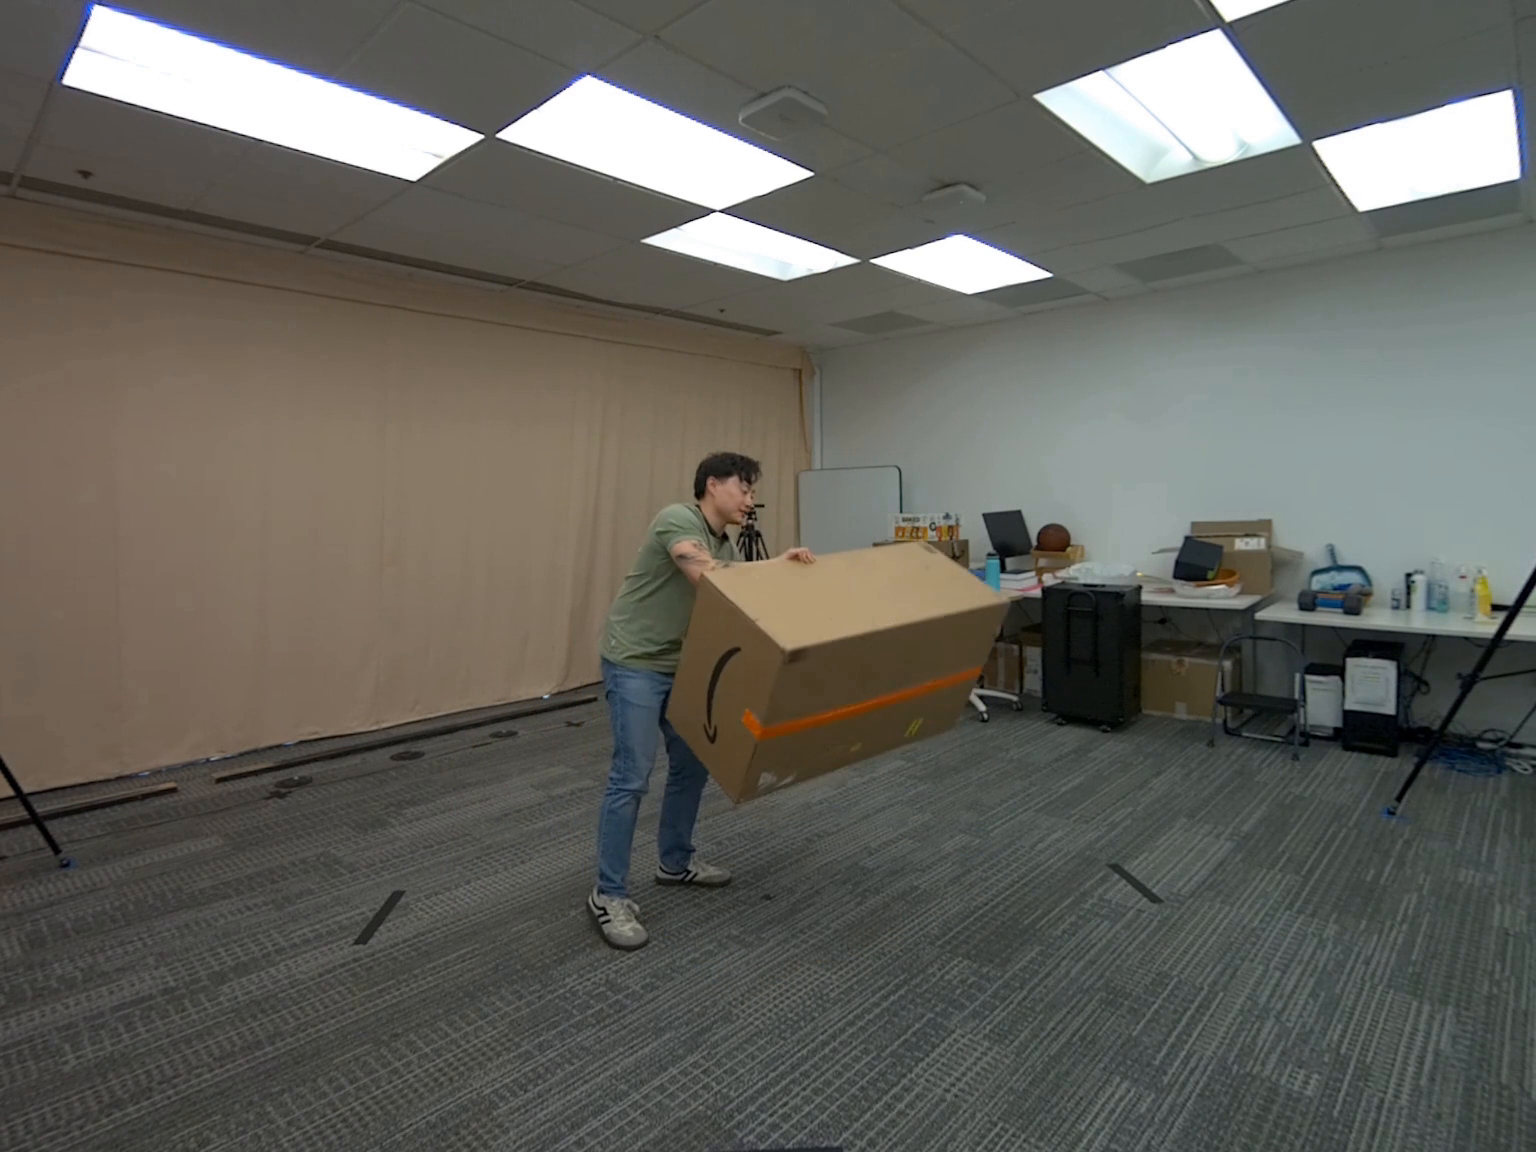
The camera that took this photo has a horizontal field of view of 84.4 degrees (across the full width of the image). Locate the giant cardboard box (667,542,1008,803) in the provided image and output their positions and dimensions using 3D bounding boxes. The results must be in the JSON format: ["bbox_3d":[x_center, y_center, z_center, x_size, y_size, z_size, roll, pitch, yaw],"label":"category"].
[{"bbox_3d":[0.246,0.276,2.821,0.997,0.573,0.442,-9,36,-37],"label":"giant cardboard box"}]
